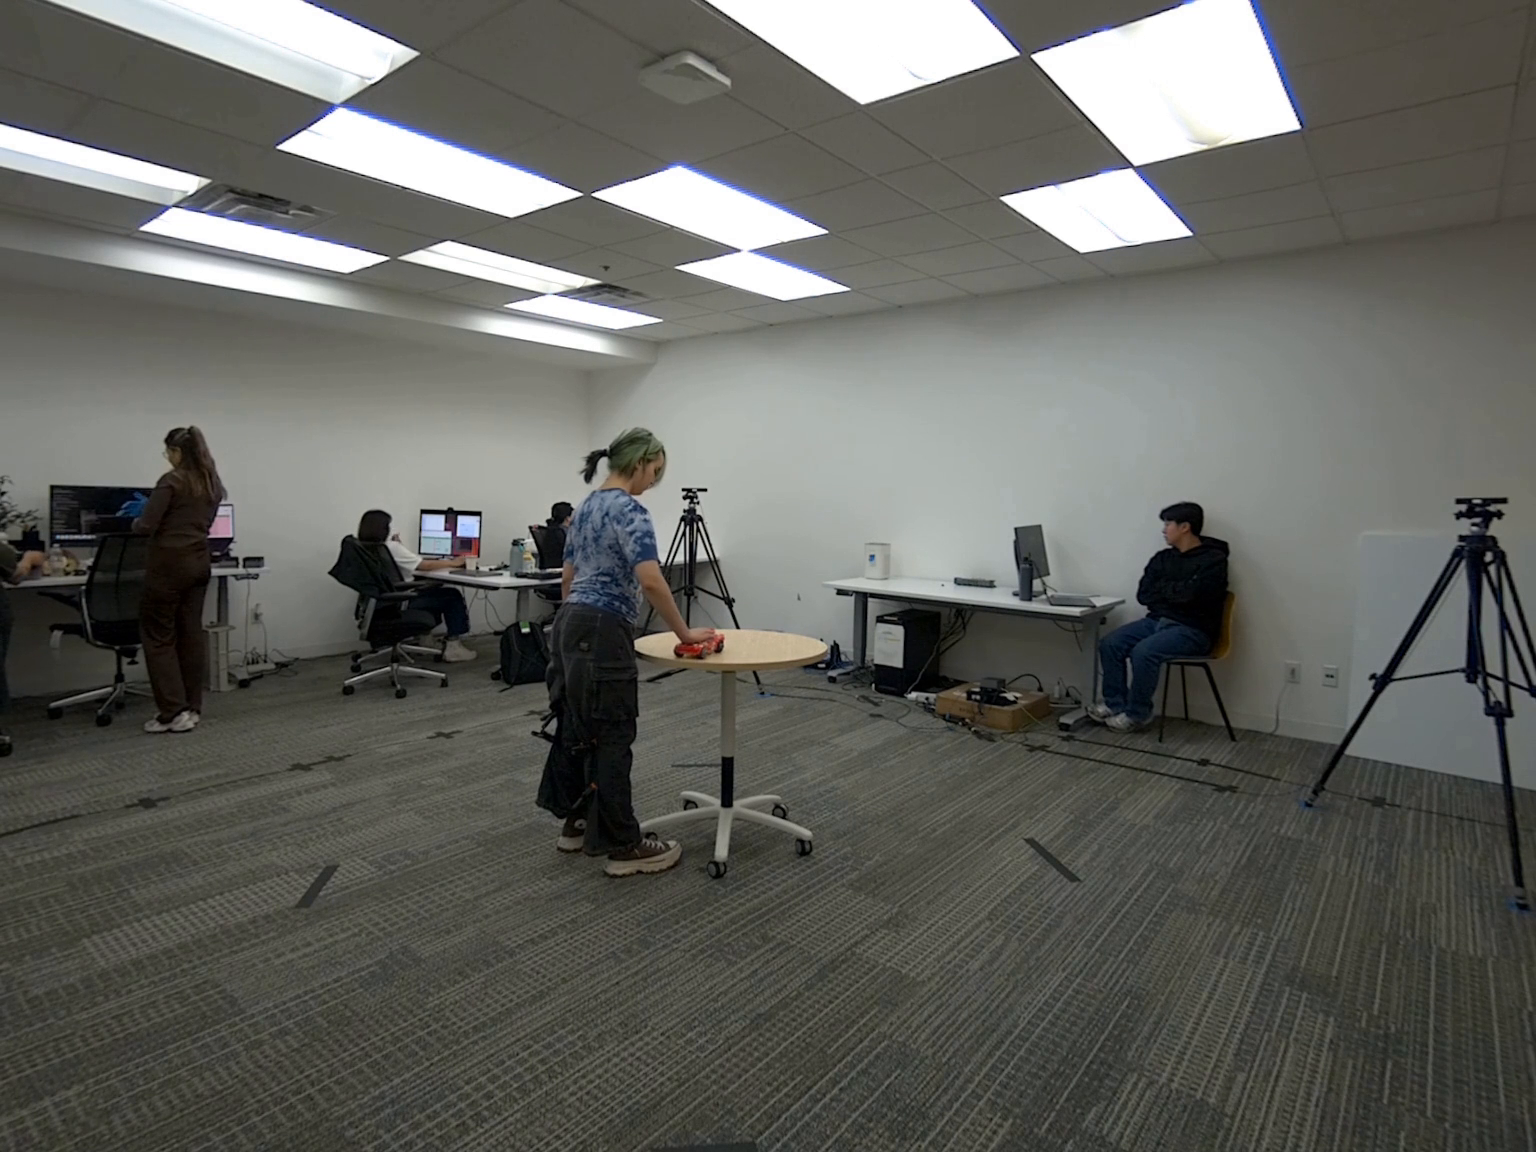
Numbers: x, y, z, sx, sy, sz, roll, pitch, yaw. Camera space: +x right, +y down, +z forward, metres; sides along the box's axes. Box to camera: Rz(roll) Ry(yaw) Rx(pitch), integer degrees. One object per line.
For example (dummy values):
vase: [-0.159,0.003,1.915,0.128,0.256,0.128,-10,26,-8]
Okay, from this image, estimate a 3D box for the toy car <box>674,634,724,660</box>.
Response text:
toy car: [-0.253,0.255,3.140,0.133,0.082,0.252,1,16,22]
